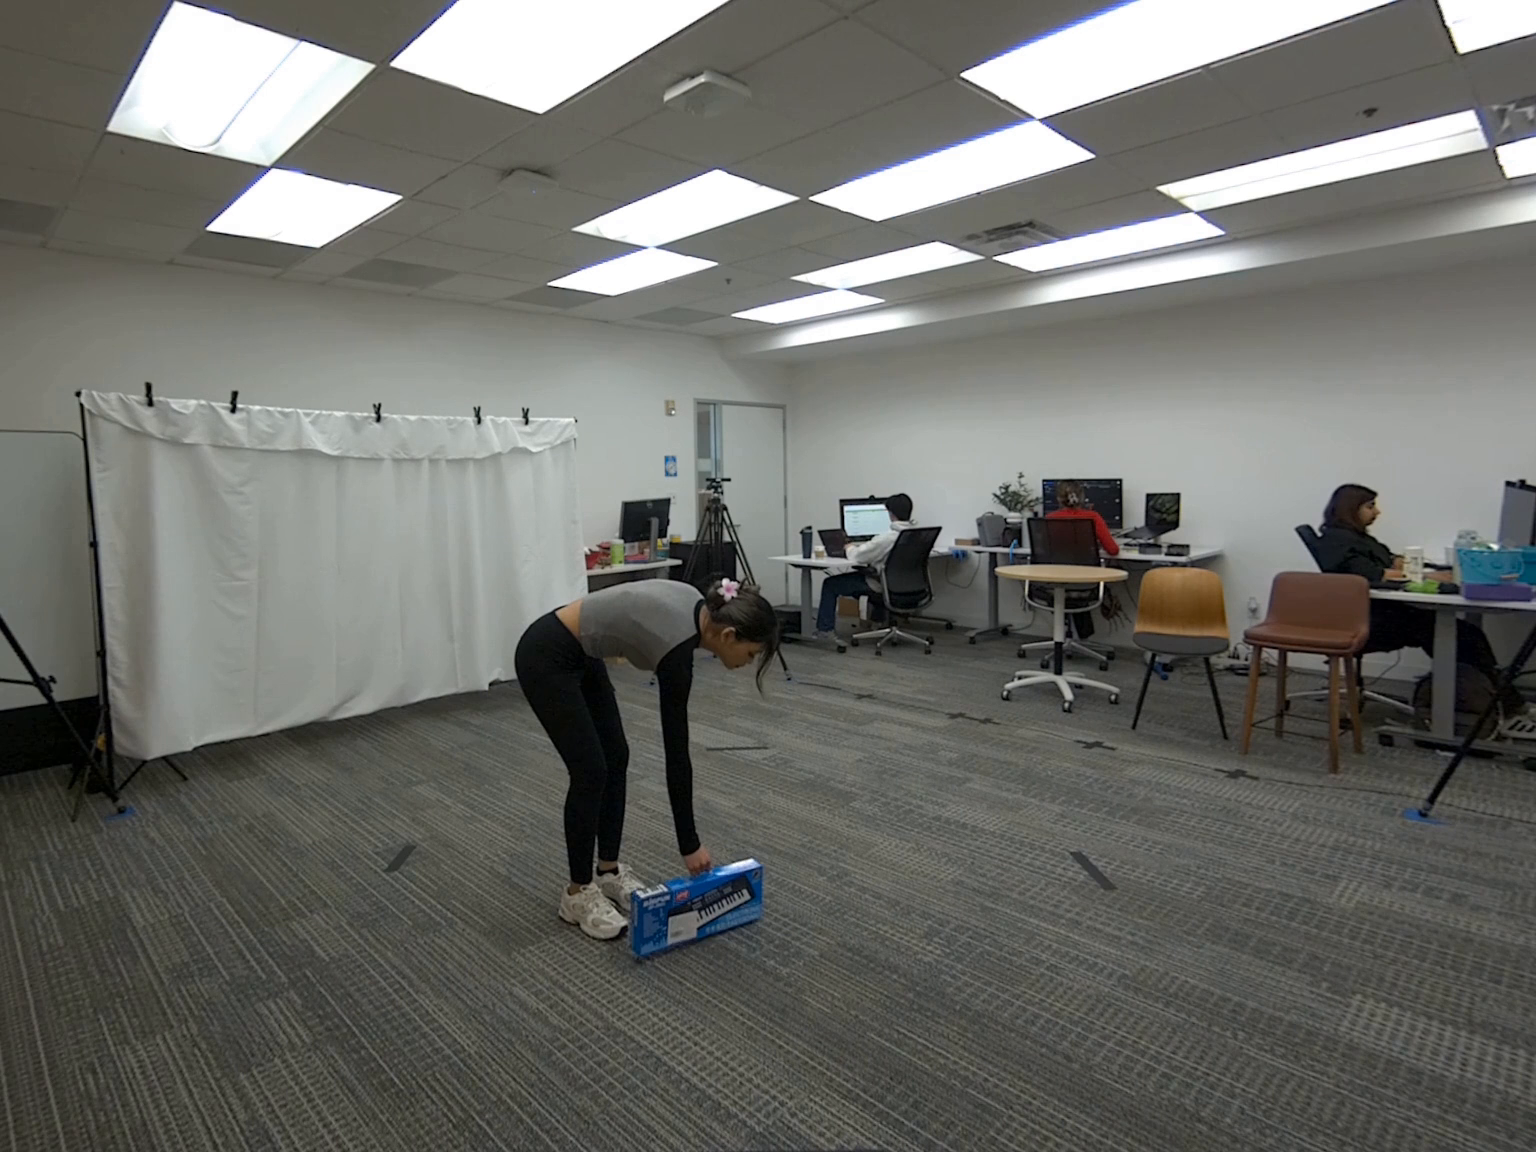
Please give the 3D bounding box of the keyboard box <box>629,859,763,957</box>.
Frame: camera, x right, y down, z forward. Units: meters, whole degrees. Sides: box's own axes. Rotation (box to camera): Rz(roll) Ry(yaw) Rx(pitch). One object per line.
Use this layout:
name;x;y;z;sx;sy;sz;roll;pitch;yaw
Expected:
keyboard box;-0.207;1.002;2.592;0.426;0.175;0.061;-4;5;-34
